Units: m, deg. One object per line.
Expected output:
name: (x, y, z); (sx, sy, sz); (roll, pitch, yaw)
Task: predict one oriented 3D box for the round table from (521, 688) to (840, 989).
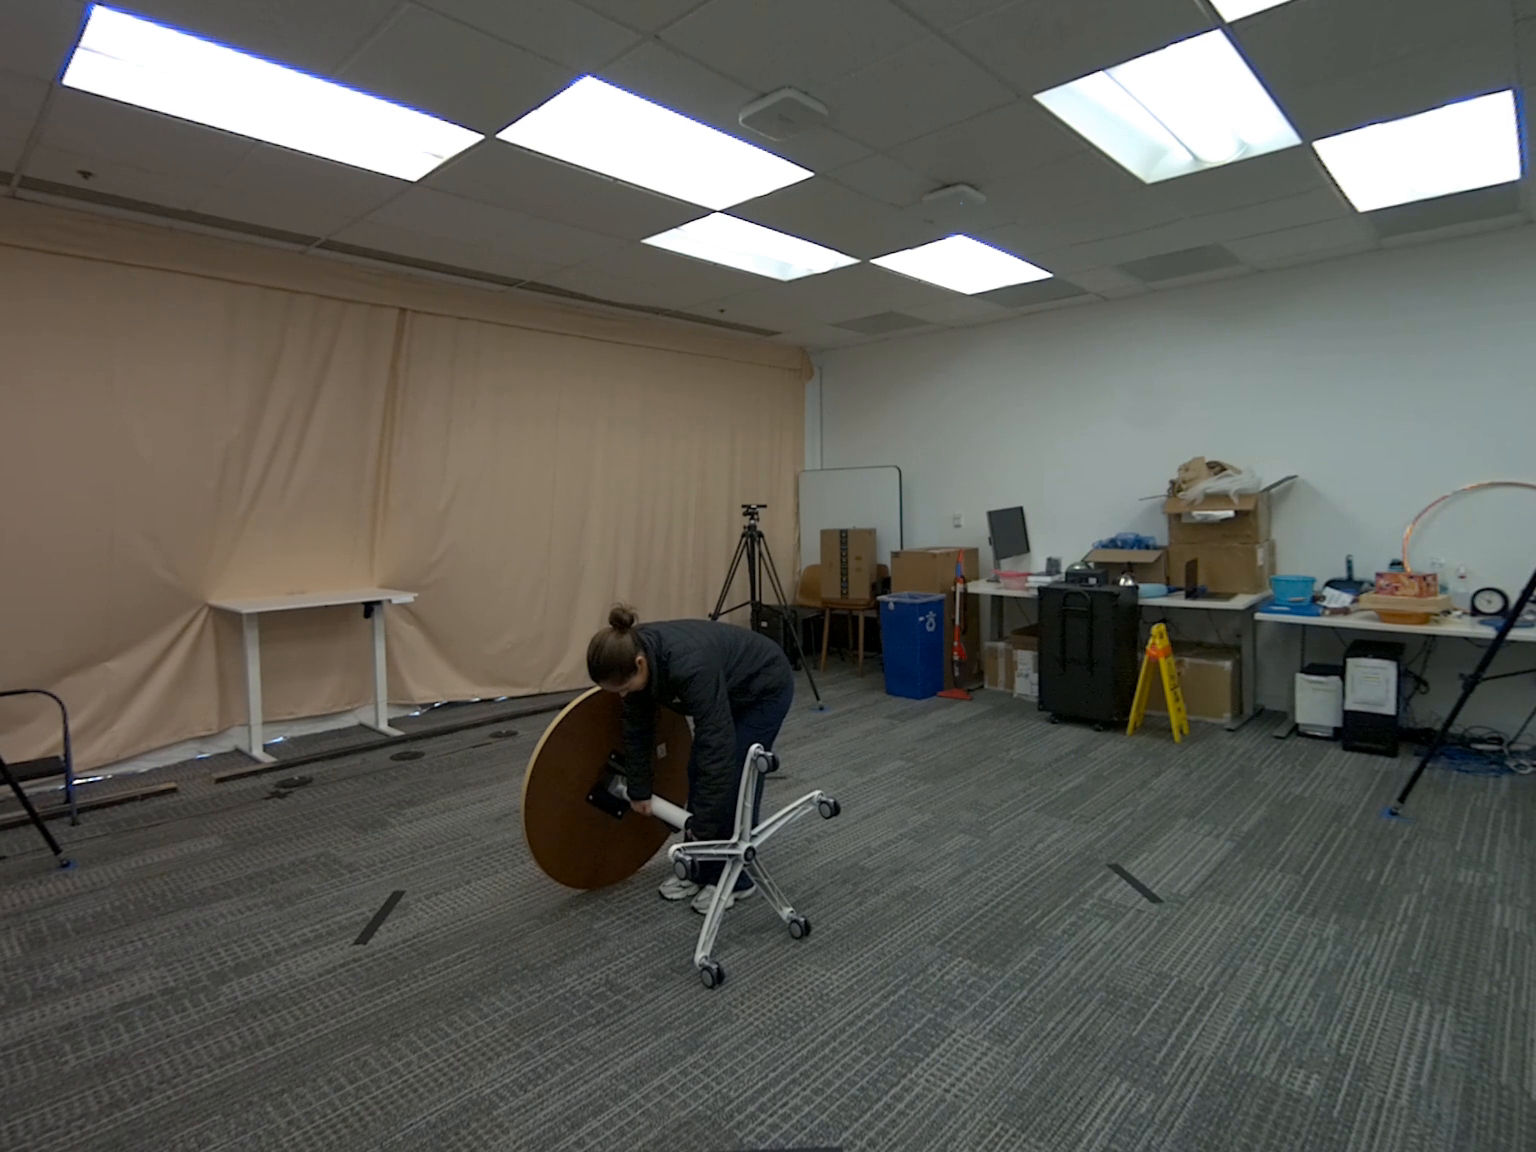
round table: (-0.260, 0.822, 2.824); (0.814, 0.781, 0.761); (11, 11, 43)
